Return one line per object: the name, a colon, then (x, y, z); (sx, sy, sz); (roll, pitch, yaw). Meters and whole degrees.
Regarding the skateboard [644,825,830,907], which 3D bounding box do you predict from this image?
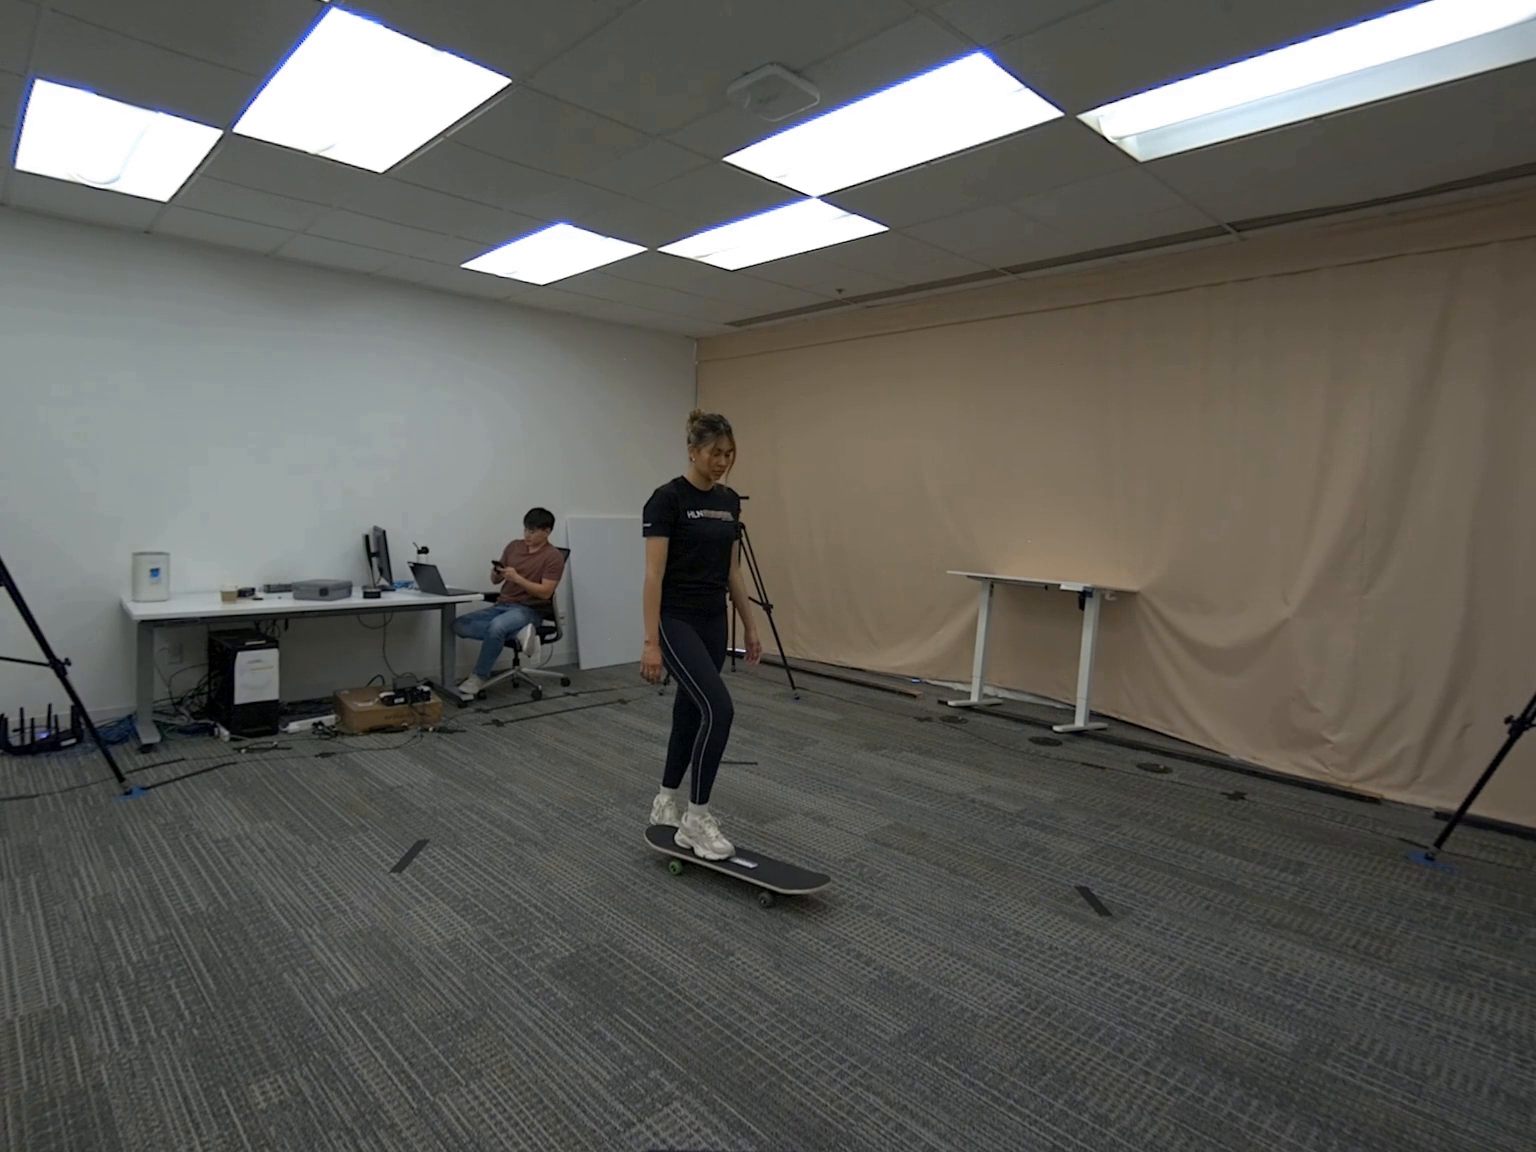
skateboard: (-0.137, 1.056, 3.043); (0.804, 0.110, 0.189); (5, 5, 35)
